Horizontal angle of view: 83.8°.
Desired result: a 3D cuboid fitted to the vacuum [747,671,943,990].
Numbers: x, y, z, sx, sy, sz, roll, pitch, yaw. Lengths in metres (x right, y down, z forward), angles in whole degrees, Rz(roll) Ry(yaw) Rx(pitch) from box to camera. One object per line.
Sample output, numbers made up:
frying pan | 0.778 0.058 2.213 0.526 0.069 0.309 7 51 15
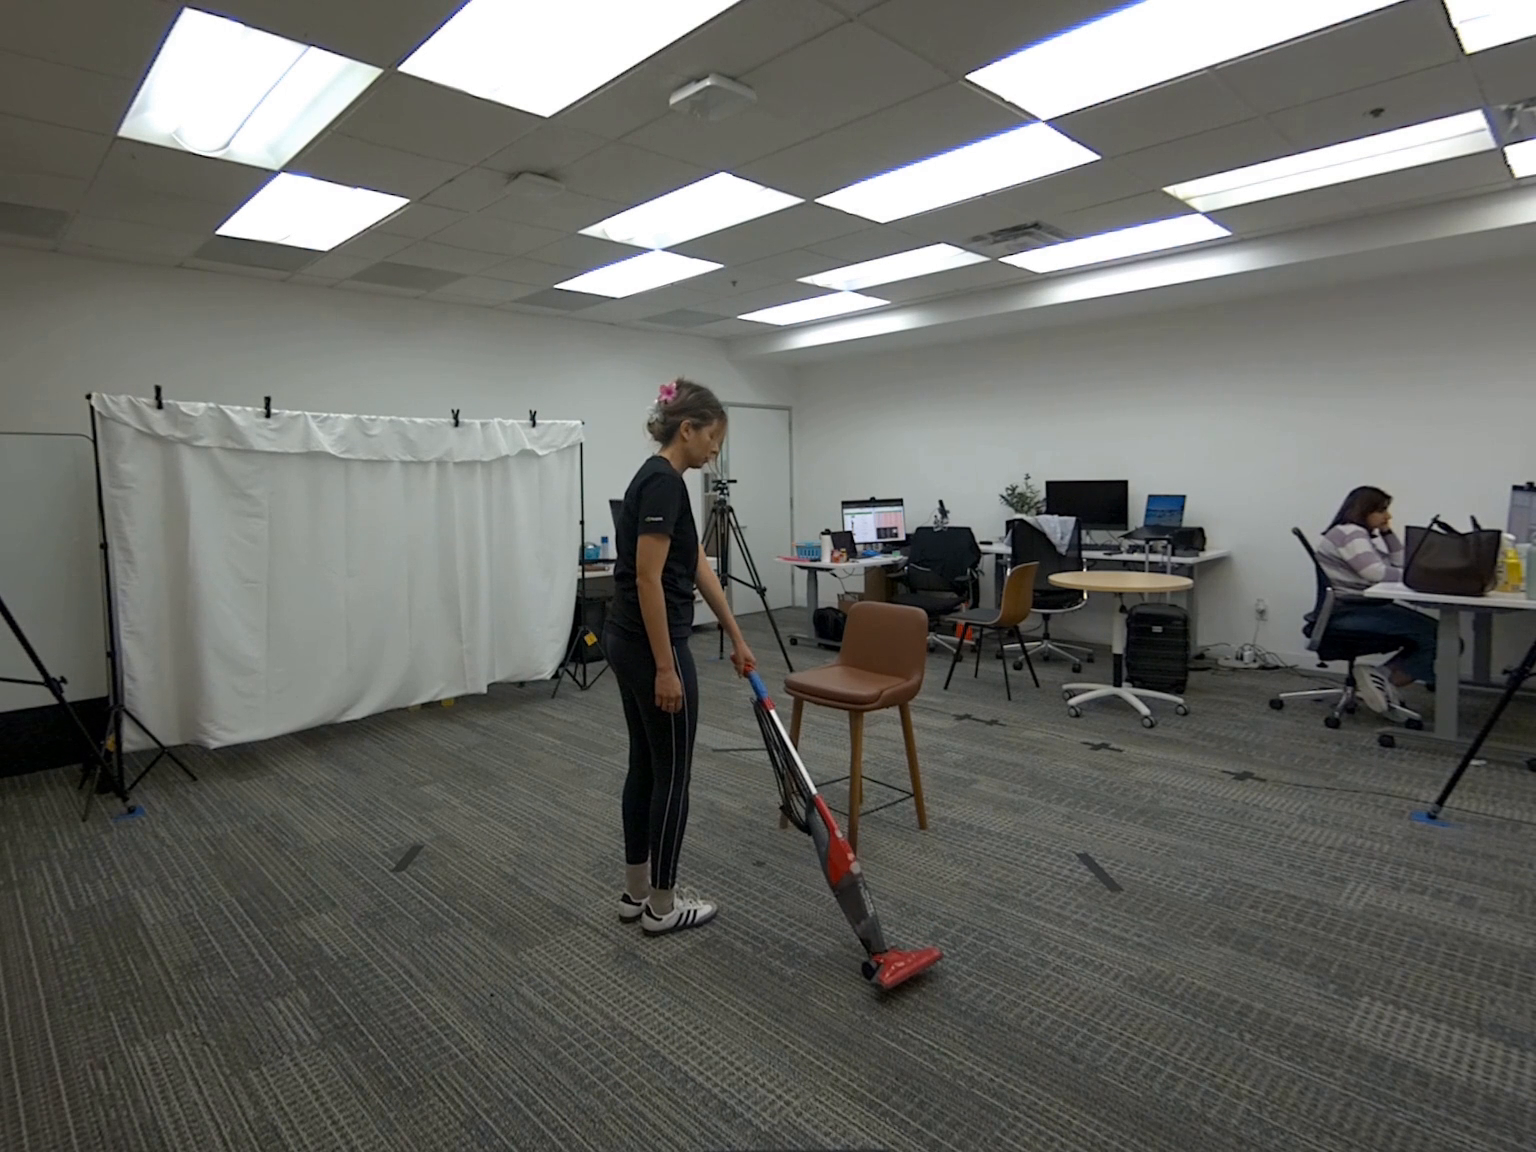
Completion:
vacuum | 0.114 0.690 2.638 0.245 1.084 0.143 0 -42 -44
